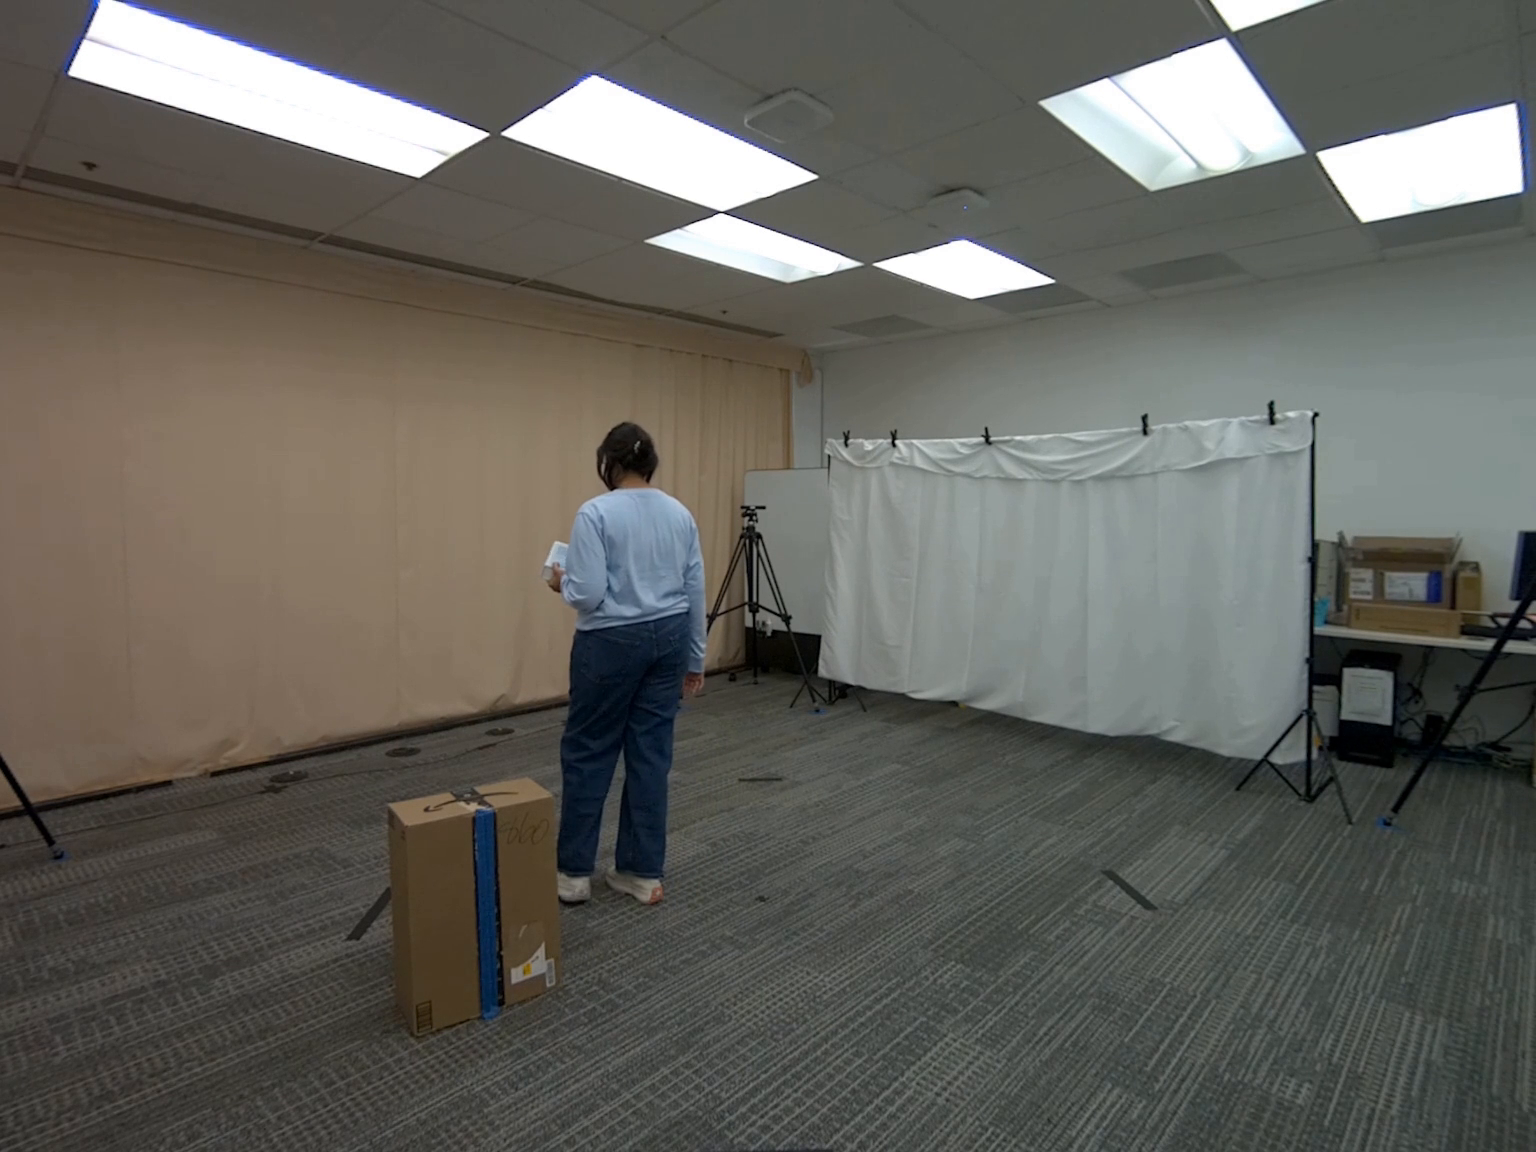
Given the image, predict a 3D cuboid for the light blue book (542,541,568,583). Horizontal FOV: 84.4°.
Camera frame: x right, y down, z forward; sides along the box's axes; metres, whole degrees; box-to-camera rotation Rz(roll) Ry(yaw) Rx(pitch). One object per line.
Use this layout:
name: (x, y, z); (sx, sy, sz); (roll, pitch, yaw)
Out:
light blue book: (-0.751, -0.037, 3.195); (0.189, 0.059, 0.265); (18, 17, -12)
